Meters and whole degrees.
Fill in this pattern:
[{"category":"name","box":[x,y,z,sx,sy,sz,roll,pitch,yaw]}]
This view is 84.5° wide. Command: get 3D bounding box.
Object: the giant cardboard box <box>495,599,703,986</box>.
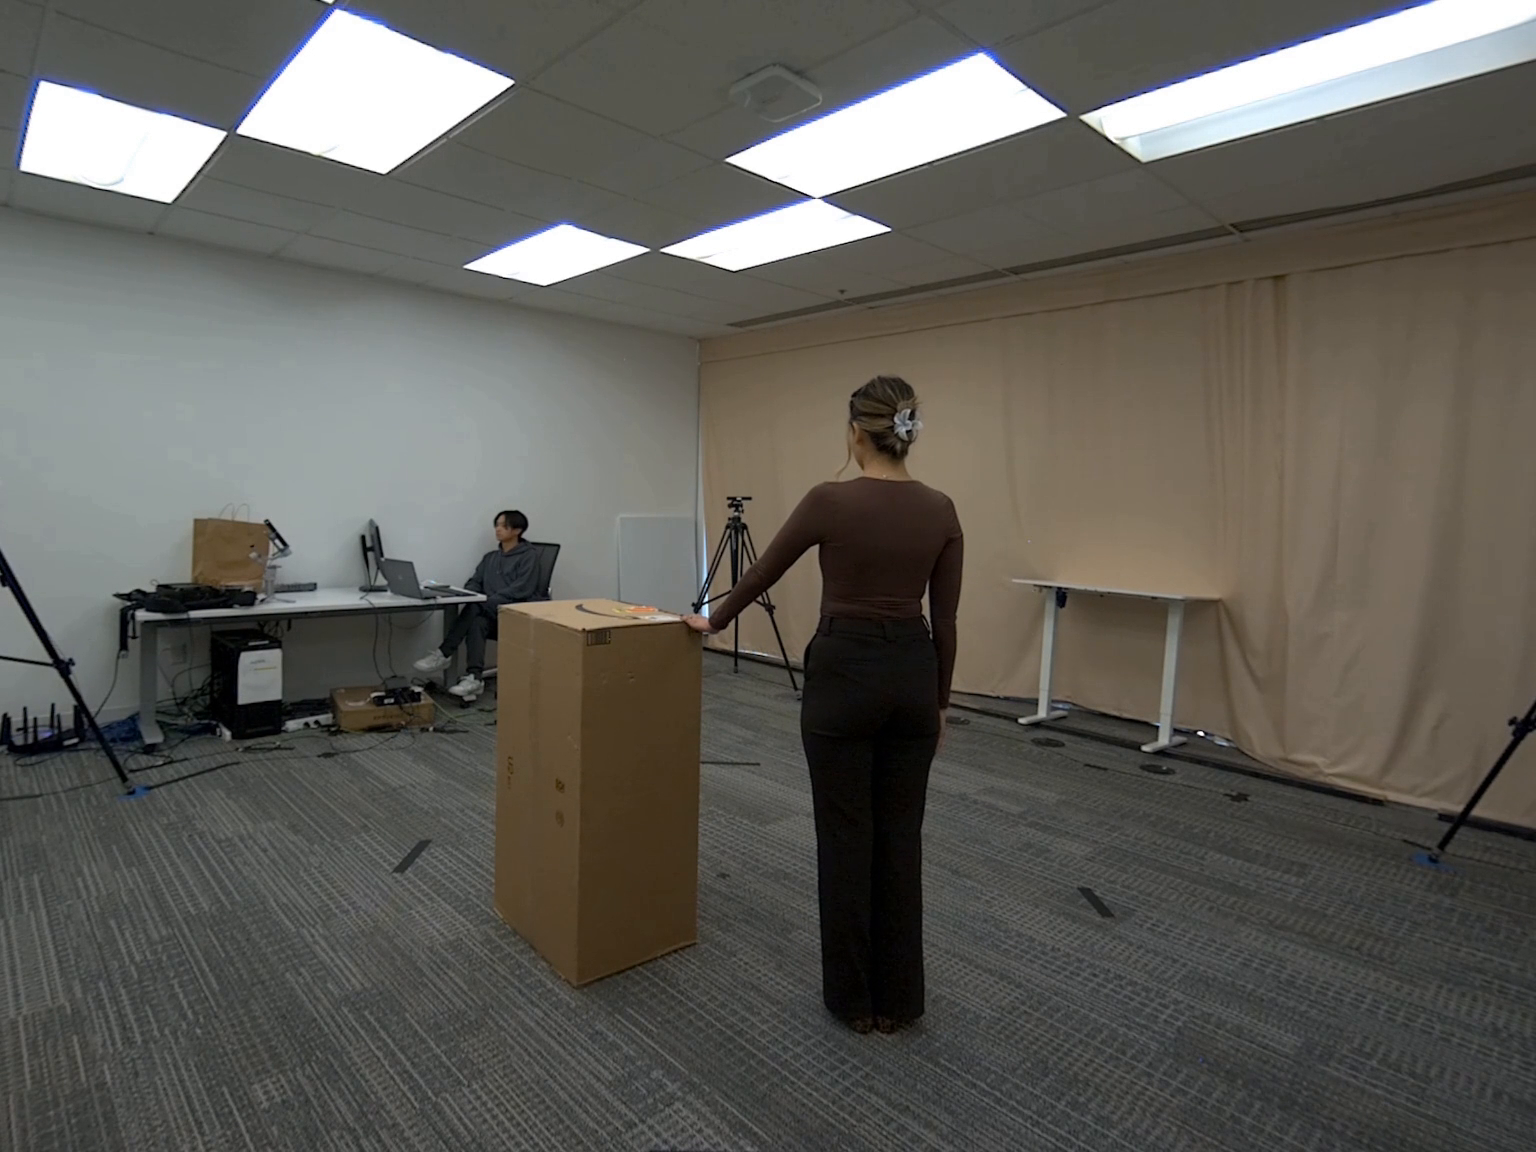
[{"category":"giant cardboard box","box":[-0.560,0.626,2.696,0.436,1.025,0.598,0,3,-38]}]
